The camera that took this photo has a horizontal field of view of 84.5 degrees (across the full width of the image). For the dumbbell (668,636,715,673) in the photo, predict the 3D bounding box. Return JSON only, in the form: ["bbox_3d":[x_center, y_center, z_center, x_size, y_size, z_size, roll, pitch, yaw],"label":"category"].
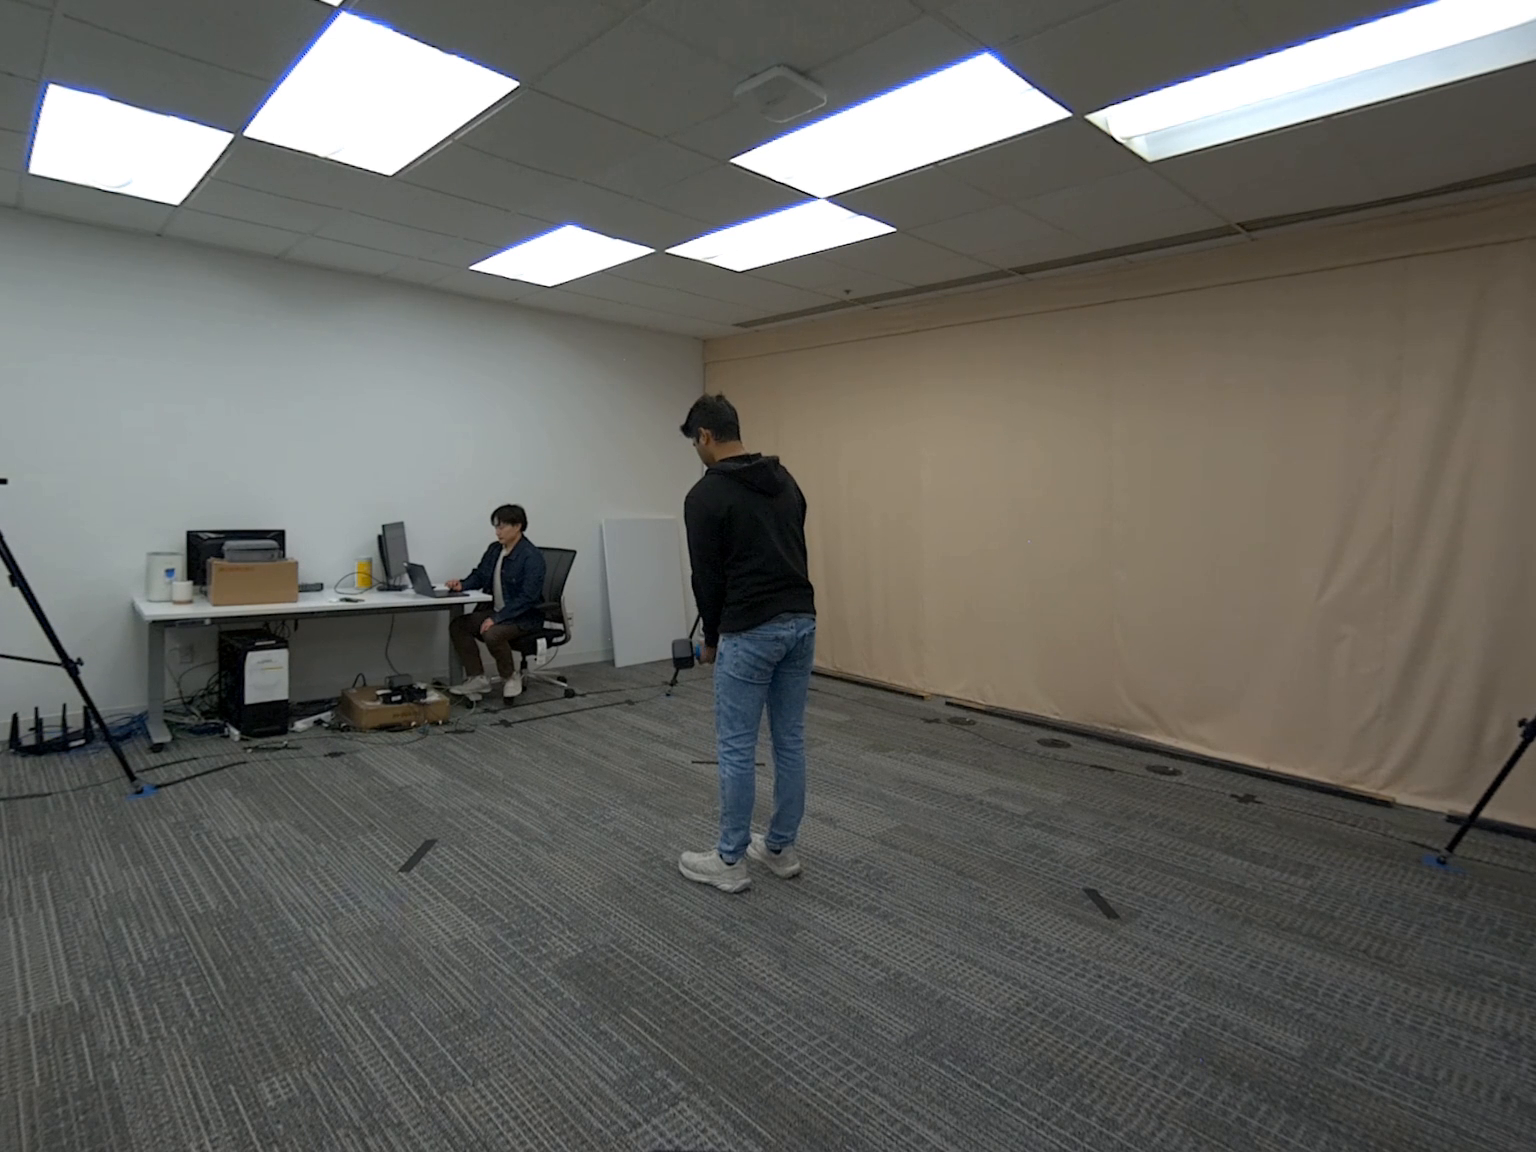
[{"bbox_3d":[-0.223,0.289,3.211,0.294,0.109,0.123,-5,1,2],"label":"dumbbell"}]
